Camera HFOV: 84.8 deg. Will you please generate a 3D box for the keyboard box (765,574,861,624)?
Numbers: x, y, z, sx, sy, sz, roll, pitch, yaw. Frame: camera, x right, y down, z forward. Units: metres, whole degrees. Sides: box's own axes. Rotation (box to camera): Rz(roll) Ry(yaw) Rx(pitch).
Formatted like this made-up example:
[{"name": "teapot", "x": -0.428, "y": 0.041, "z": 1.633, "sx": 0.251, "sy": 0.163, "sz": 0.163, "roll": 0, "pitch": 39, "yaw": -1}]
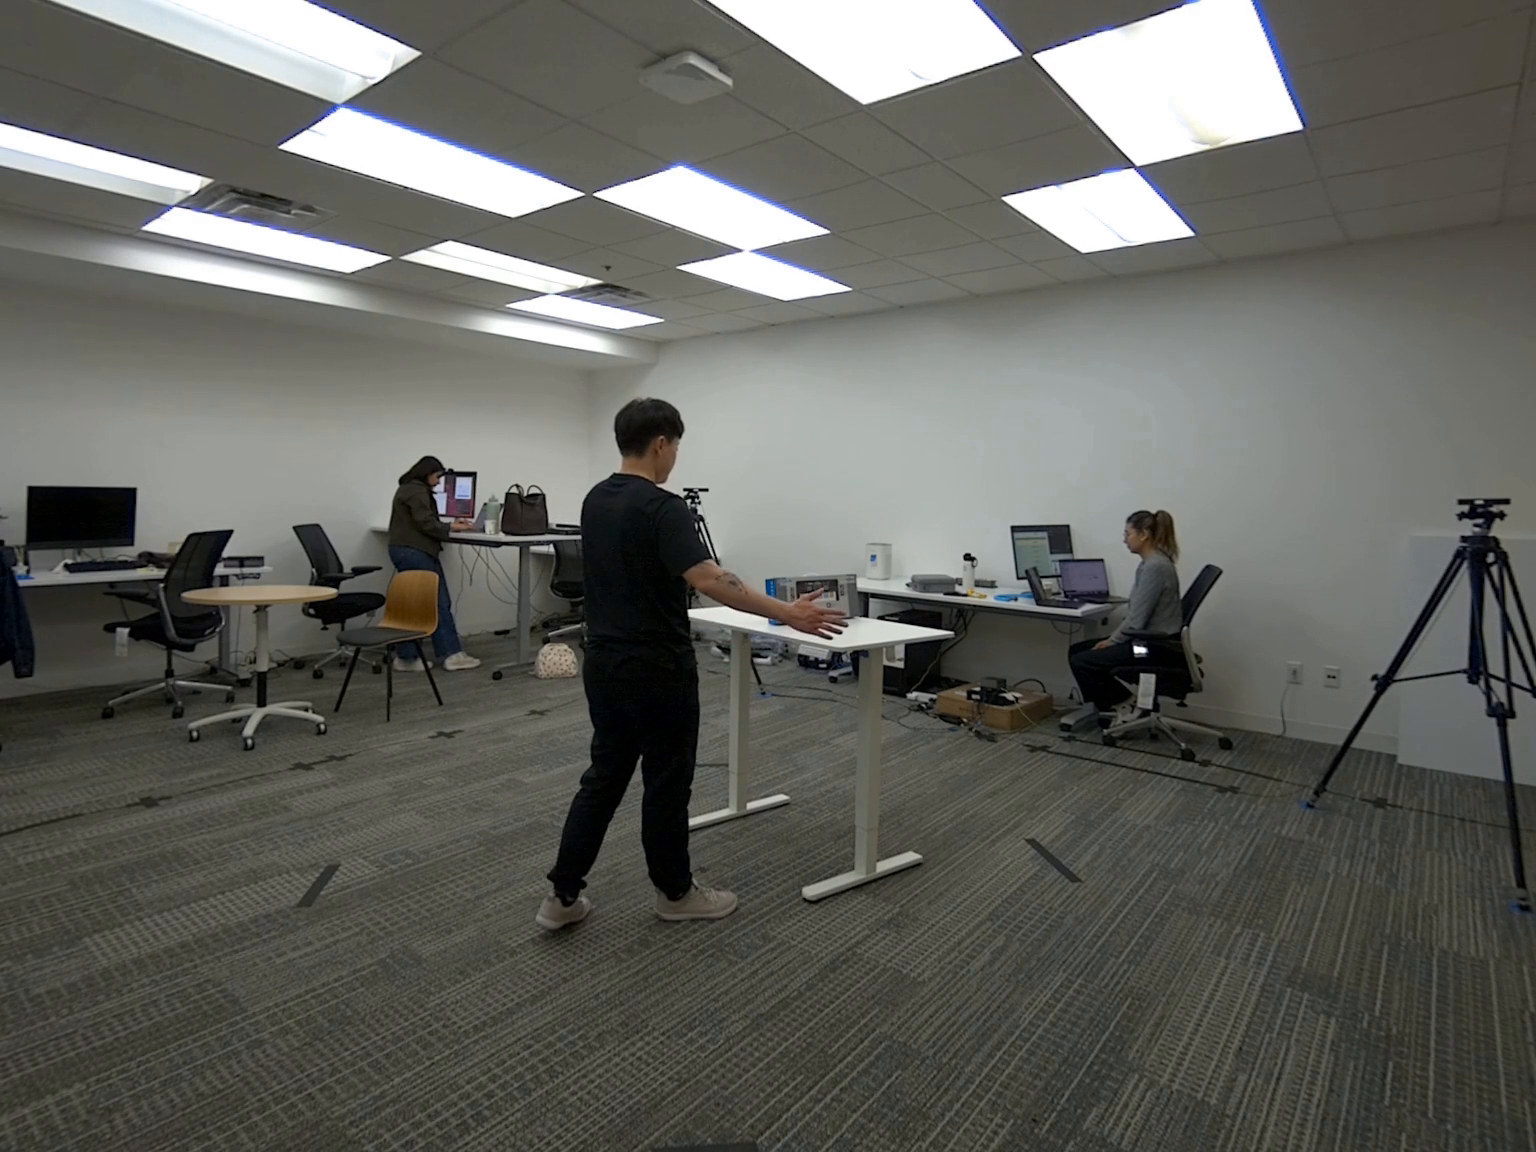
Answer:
[{"name": "keyboard box", "x": 0.172, "y": 0.086, "z": 3.329, "sx": 0.424, "sy": 0.176, "sz": 0.061, "roll": -3, "pitch": -3, "yaw": -37}]
